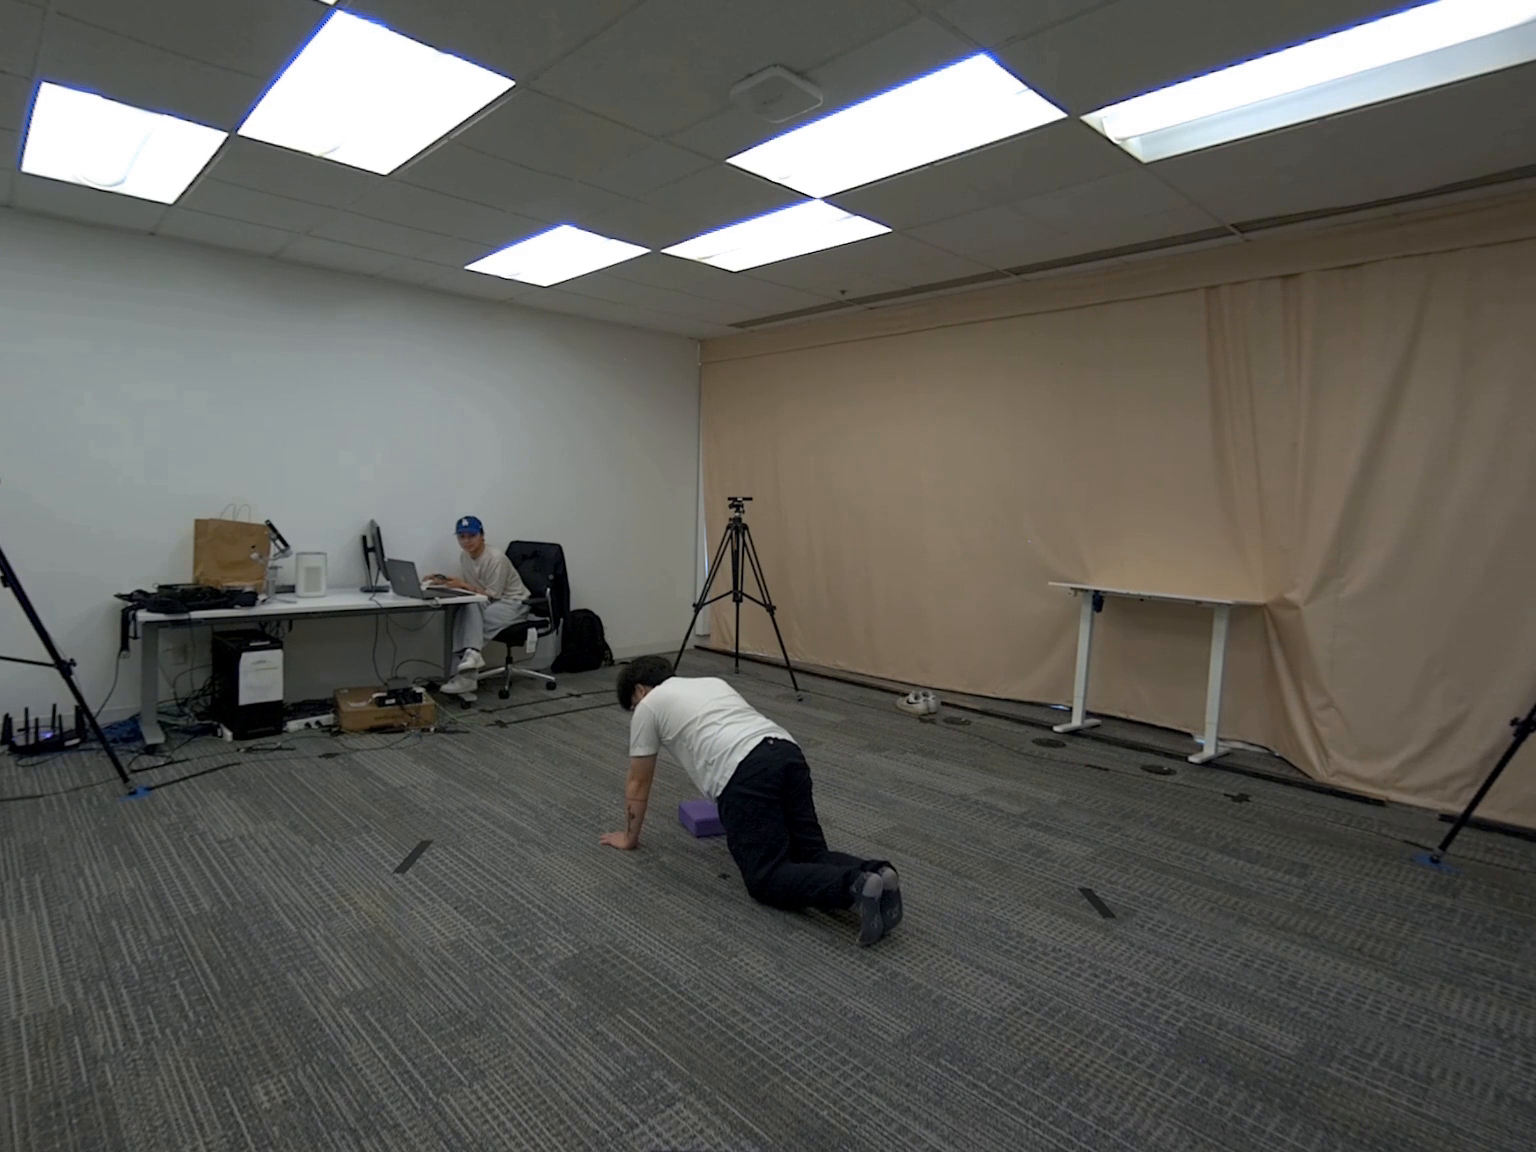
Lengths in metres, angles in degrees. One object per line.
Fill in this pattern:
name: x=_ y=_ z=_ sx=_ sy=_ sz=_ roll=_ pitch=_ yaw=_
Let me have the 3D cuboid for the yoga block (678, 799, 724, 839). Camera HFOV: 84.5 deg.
yoga block: x=-0.285 y=1.019 z=3.564 sx=0.146 sy=0.076 sz=0.234 roll=0 pitch=4 yaw=-23
